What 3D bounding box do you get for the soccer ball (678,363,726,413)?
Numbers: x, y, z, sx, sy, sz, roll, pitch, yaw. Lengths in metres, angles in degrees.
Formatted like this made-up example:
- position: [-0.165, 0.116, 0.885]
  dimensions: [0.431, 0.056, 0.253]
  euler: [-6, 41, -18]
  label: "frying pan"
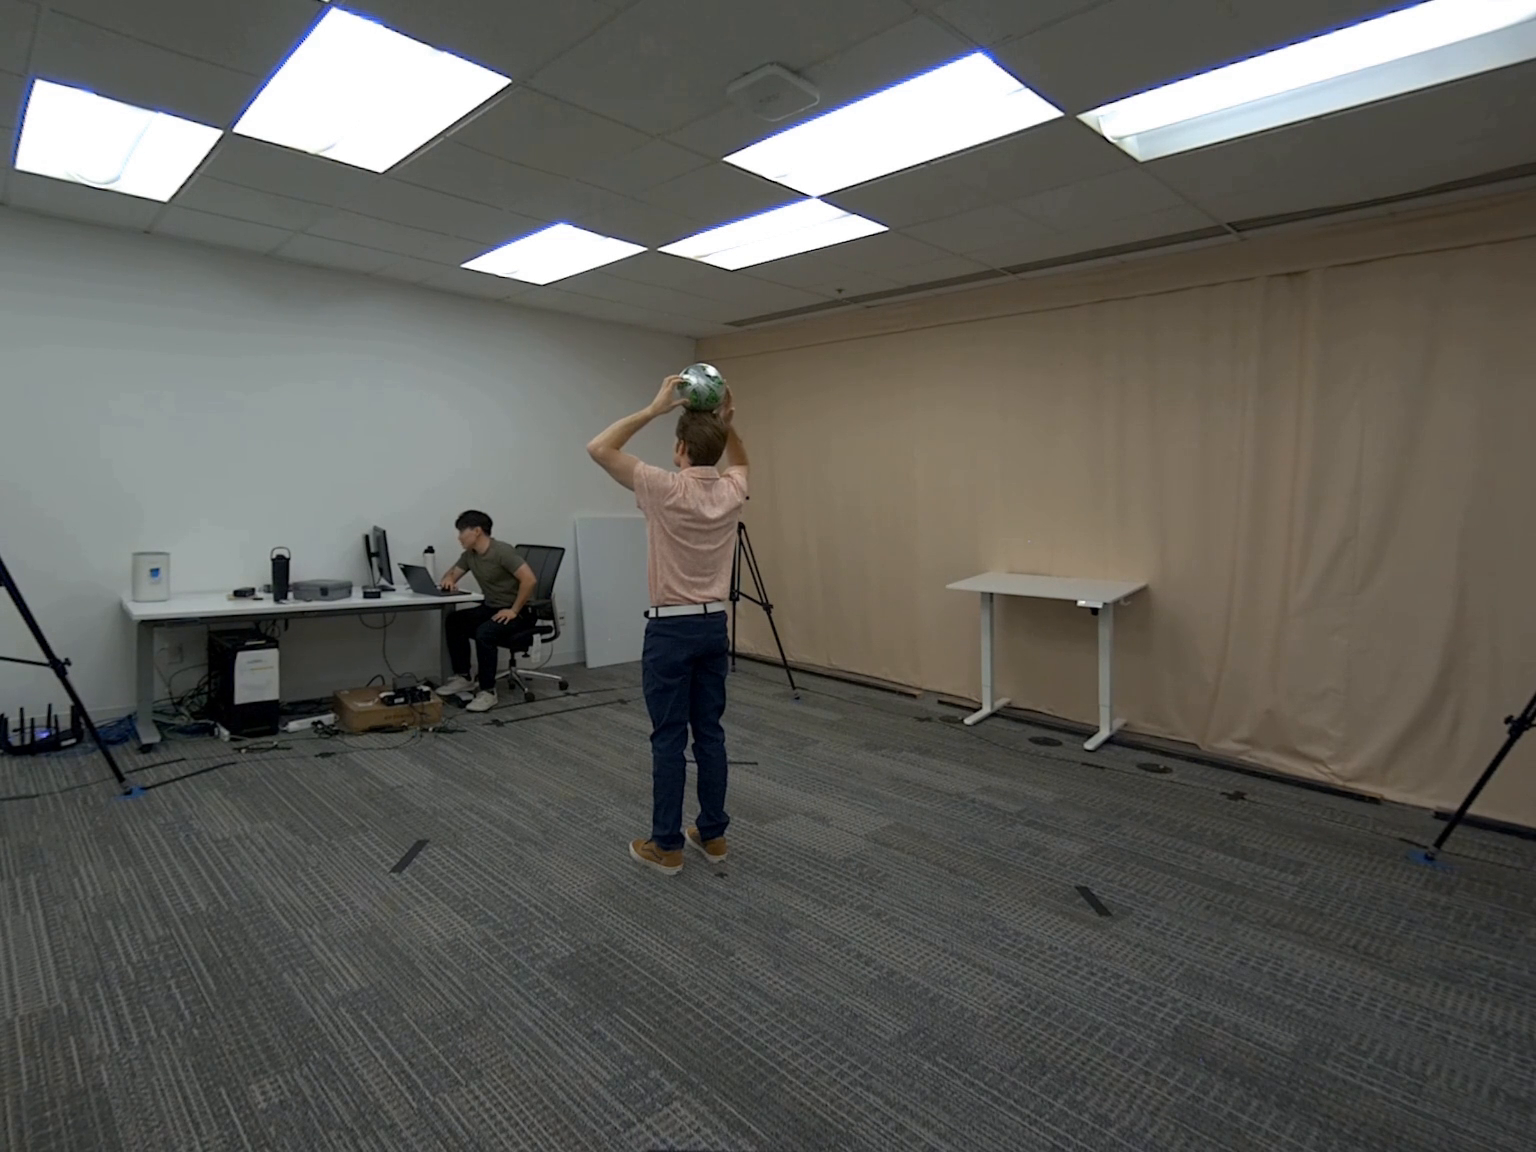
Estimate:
- position: [-0.258, -0.694, 3.147]
  dimensions: [0.187, 0.187, 0.188]
  euler: [1, 4, -1]
  label: "soccer ball"
